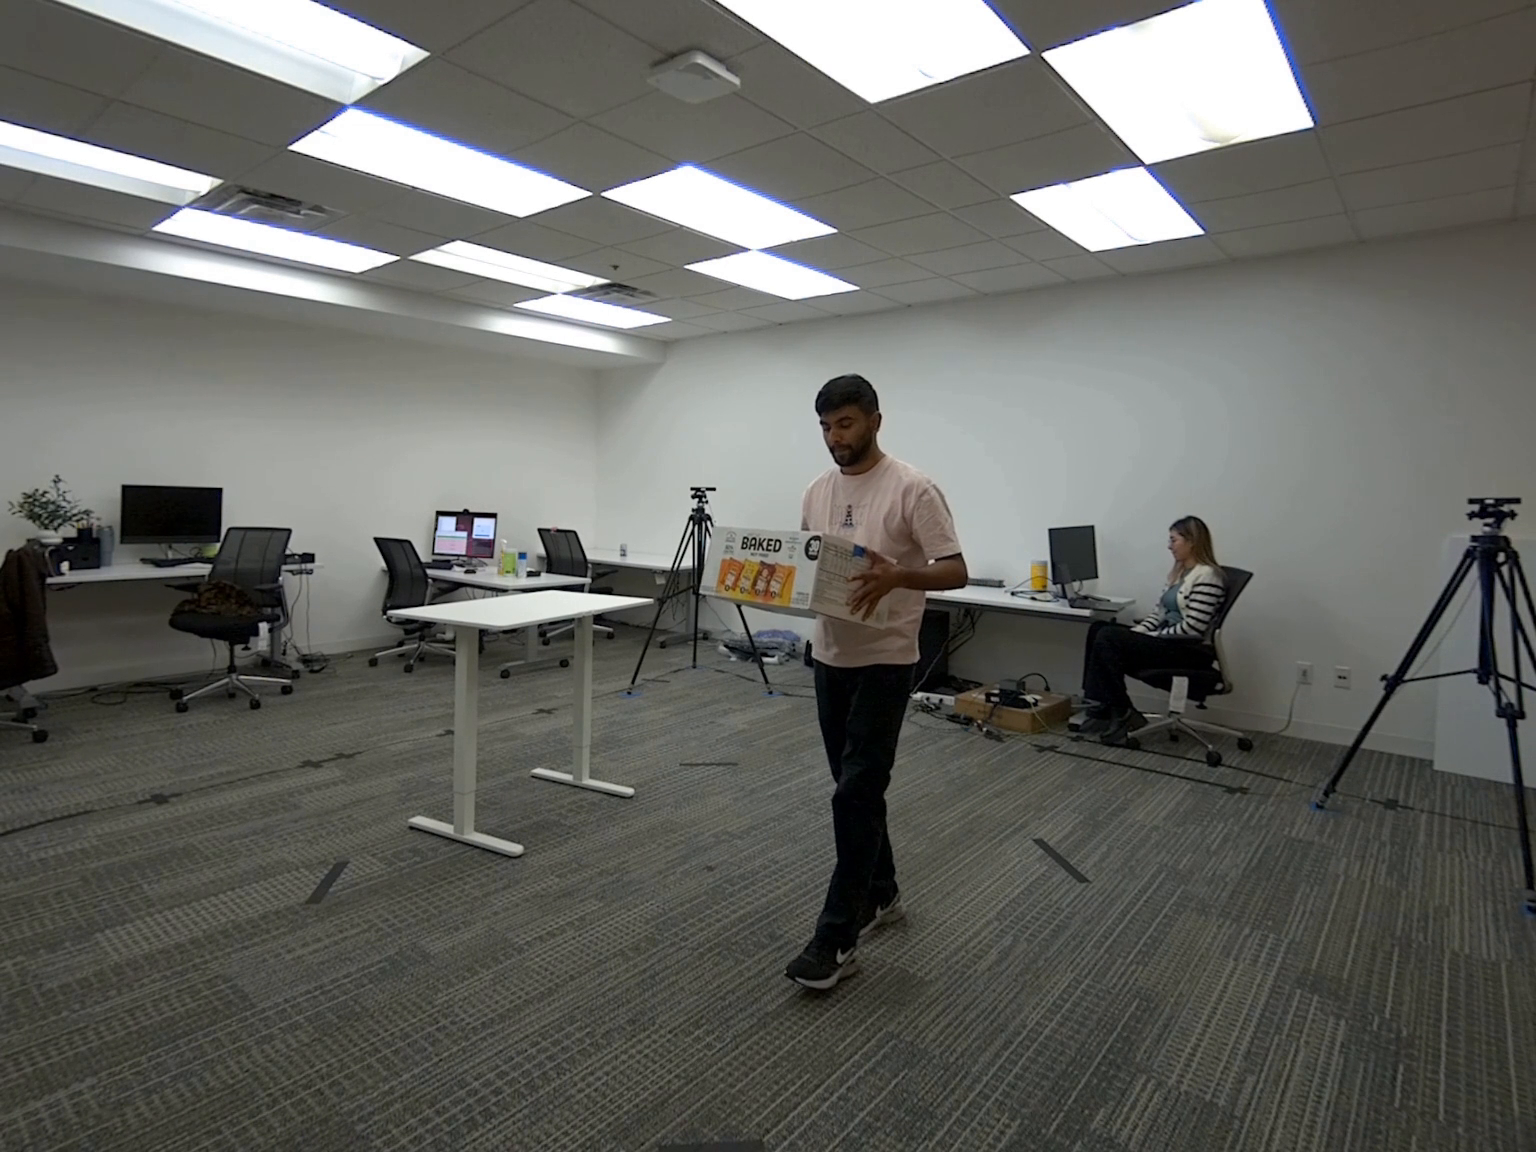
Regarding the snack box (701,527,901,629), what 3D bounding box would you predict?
[{"bbox_3d":[0.072,-0.001,2.393,0.419,0.206,0.327,7,-7,44],"label":"snack box"}]
